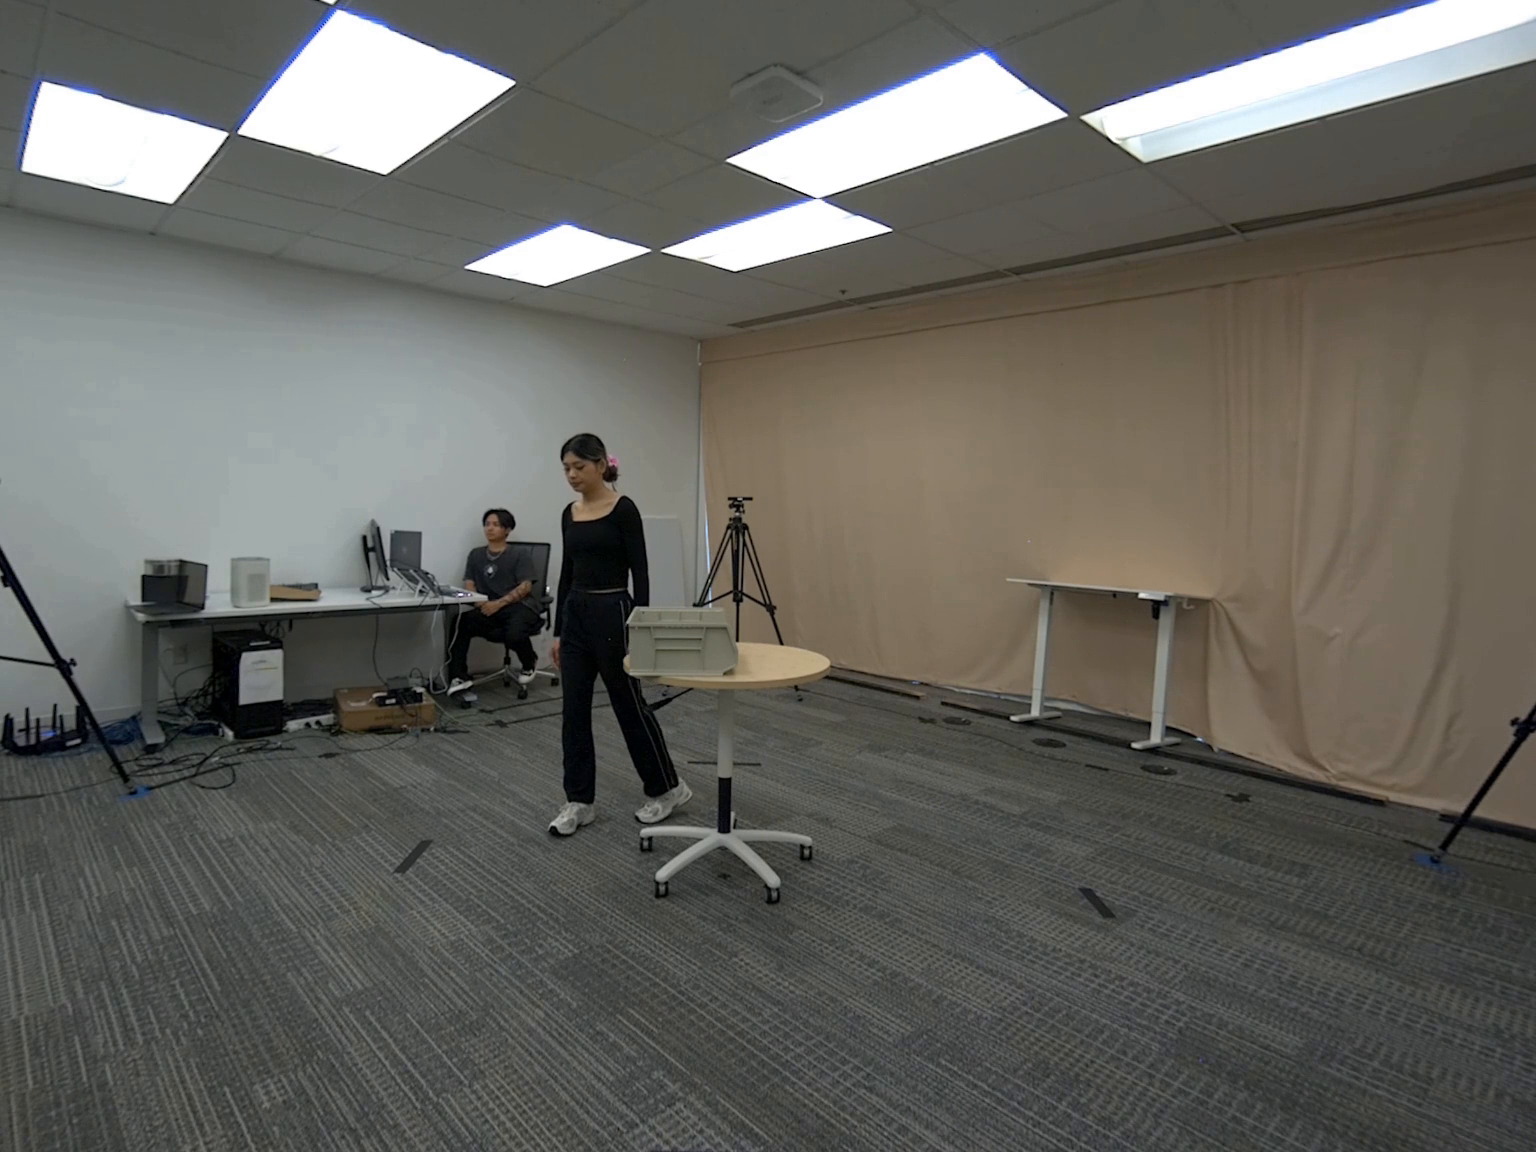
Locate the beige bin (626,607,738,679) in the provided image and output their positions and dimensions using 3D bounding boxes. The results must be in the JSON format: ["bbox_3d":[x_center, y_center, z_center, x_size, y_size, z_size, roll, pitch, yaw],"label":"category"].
[{"bbox_3d":[-0.315,0.231,3.026,0.376,0.188,0.425,0,5,-4],"label":"beige bin"}]
